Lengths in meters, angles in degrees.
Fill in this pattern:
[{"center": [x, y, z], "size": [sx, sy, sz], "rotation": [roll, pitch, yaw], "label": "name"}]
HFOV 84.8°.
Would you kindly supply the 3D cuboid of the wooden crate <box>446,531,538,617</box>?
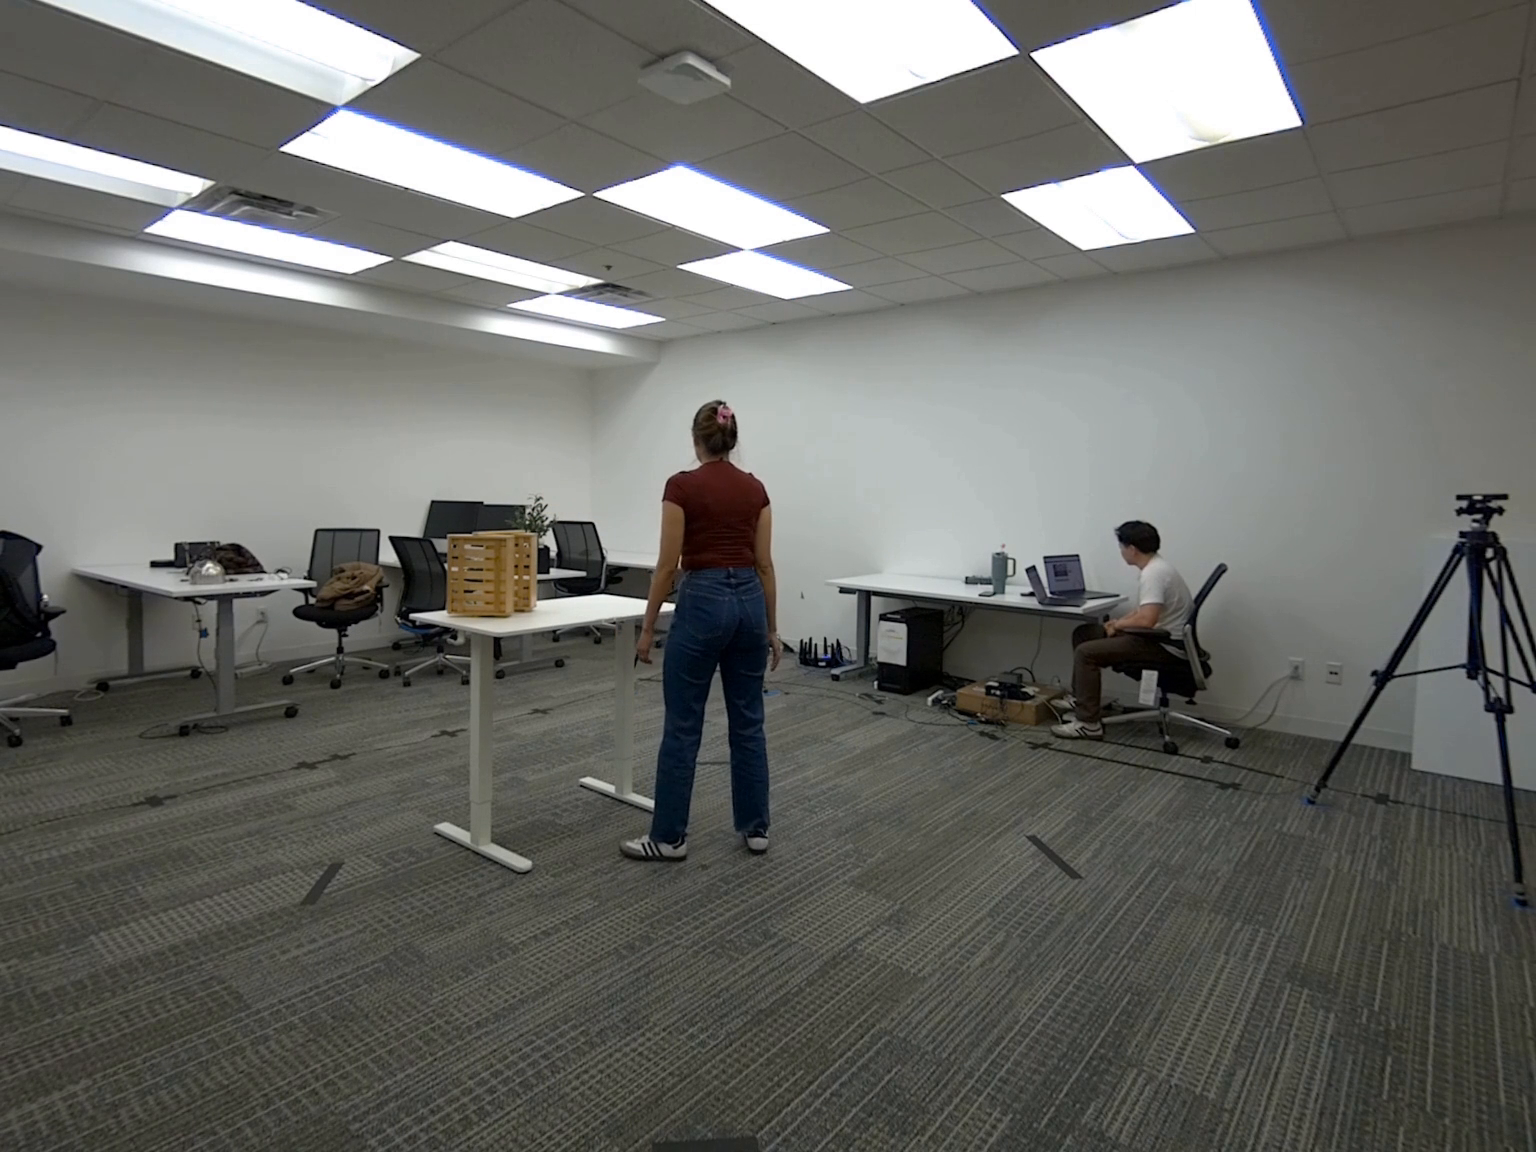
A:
[{"center": [-1.111, -0.015, 3.372], "size": [0.302, 0.323, 0.274], "rotation": [2, 4, -1], "label": "wooden crate"}]
